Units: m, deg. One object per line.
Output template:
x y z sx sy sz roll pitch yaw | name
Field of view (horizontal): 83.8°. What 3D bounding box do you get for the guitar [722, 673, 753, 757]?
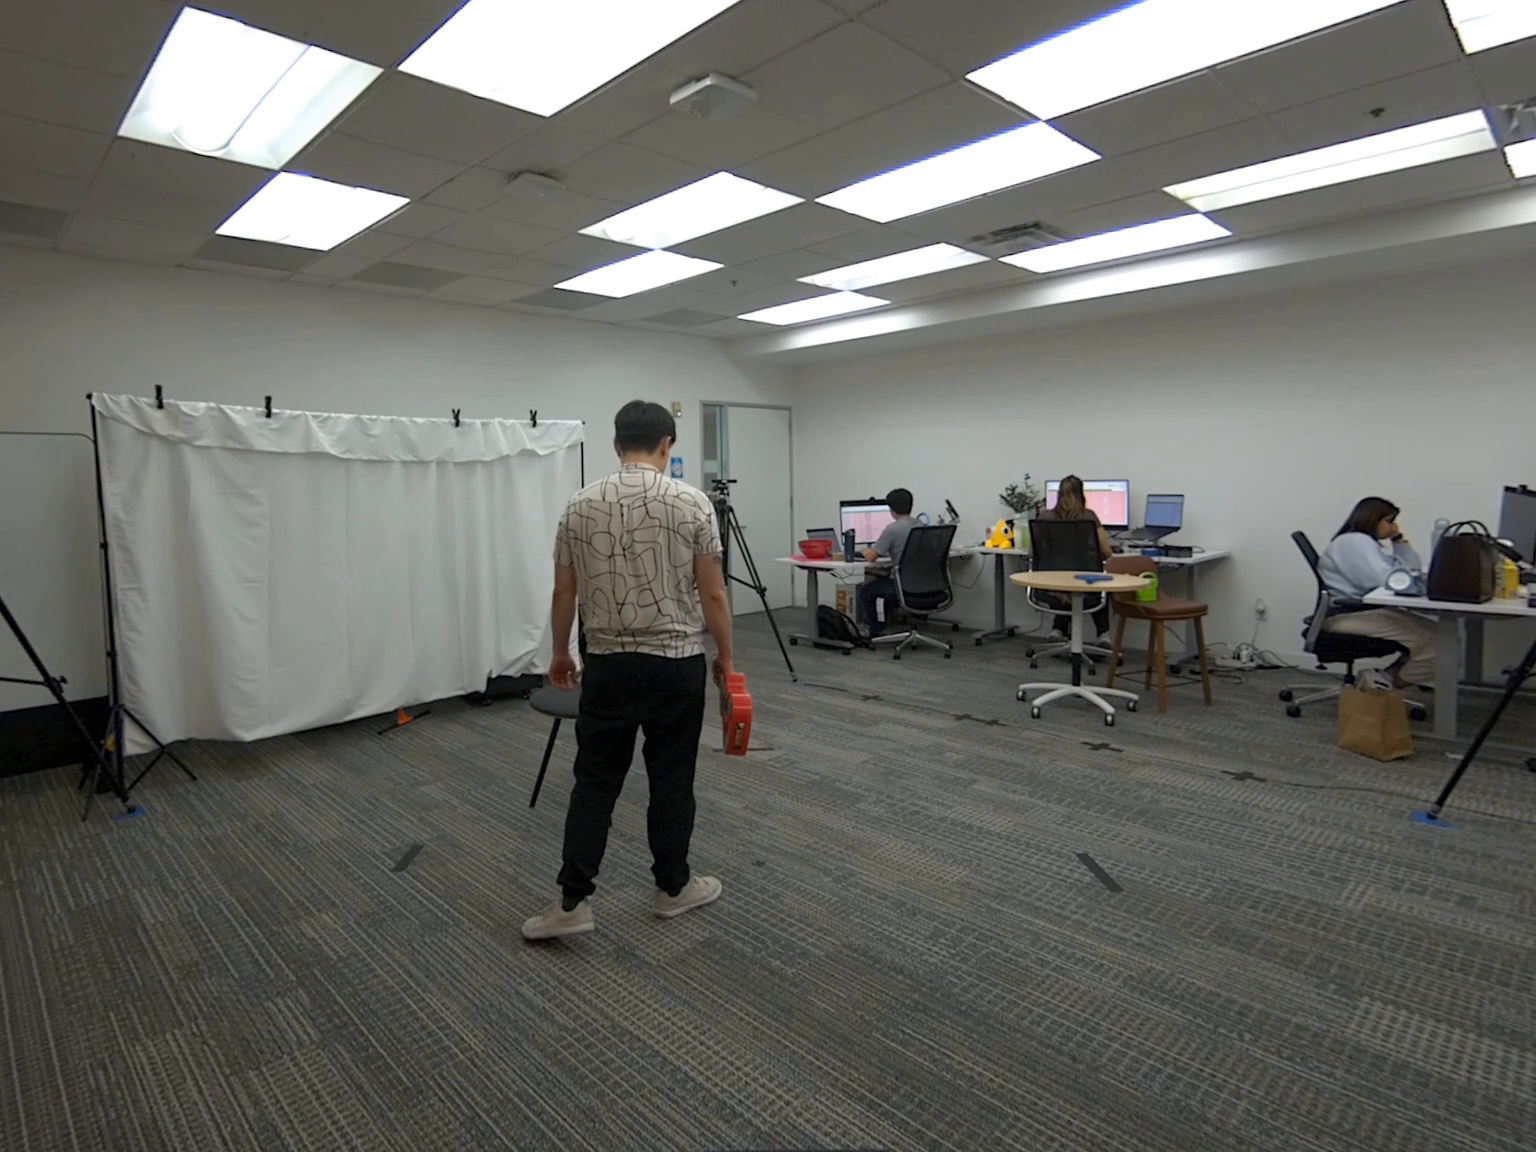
-0.118 0.338 2.706 0.070 0.189 0.513 2 34 -10 | guitar
